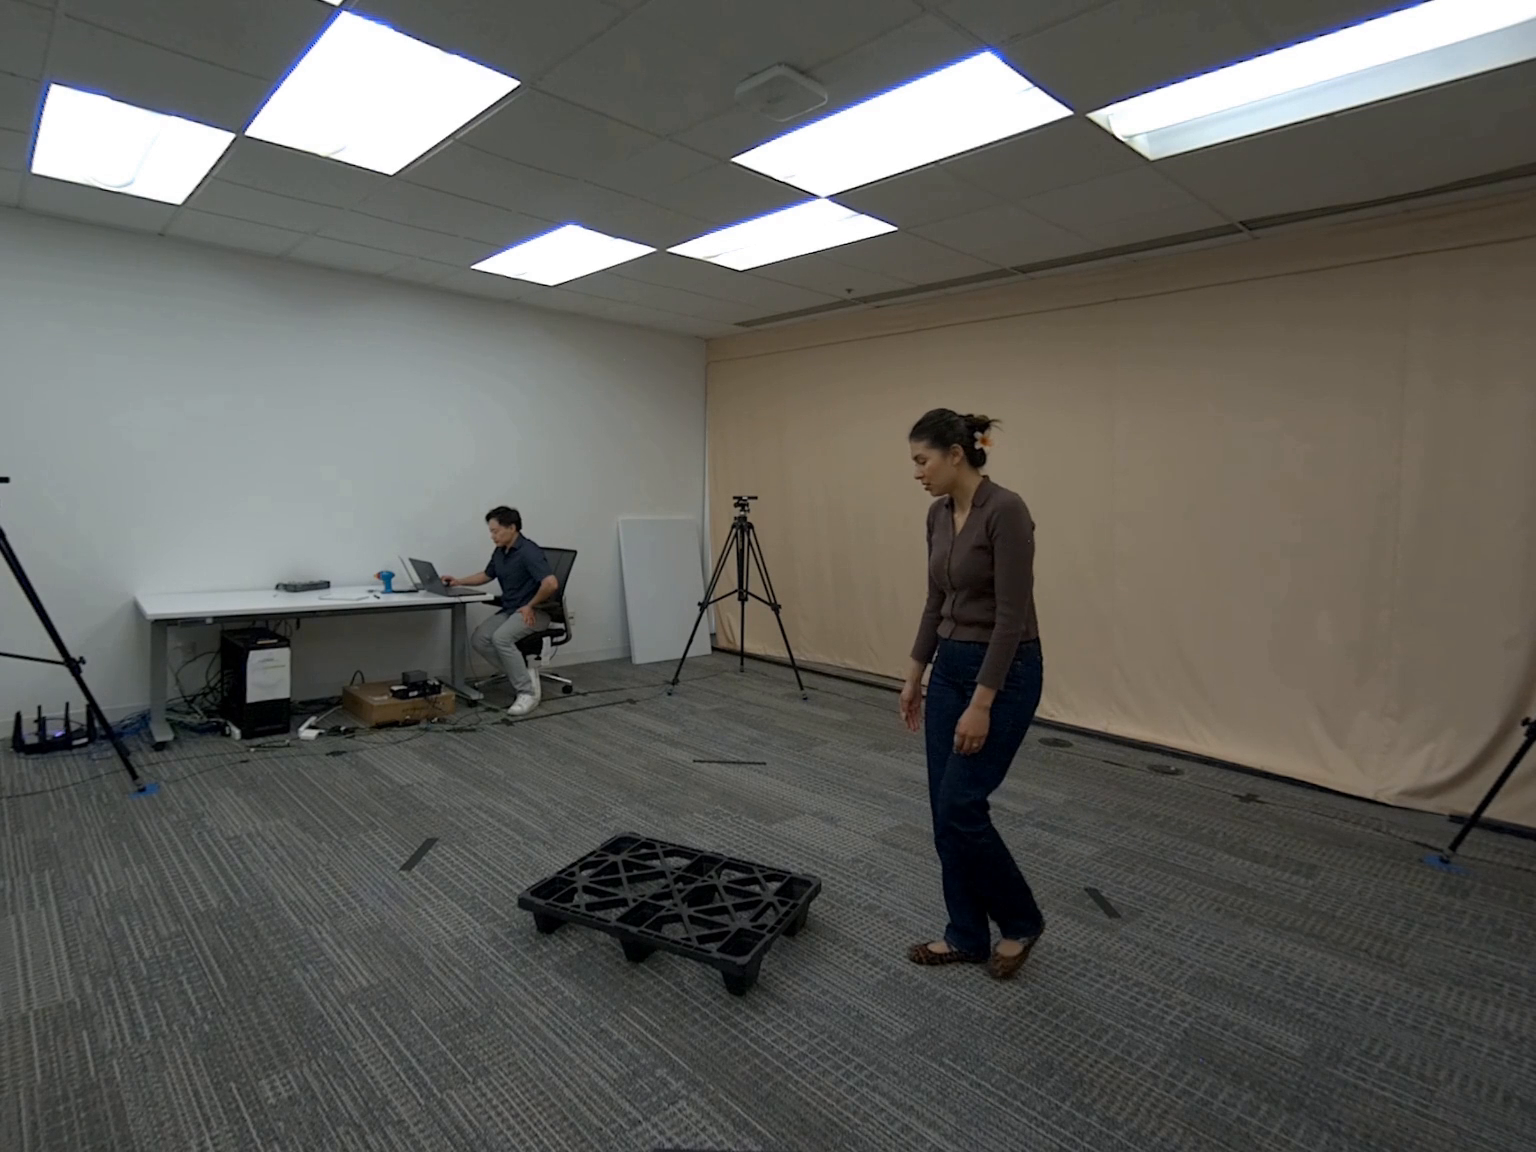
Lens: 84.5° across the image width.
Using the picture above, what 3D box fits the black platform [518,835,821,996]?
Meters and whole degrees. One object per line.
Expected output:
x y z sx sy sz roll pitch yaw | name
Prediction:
-0.307 1.068 2.708 0.822 0.143 0.595 4 6 26 | black platform
